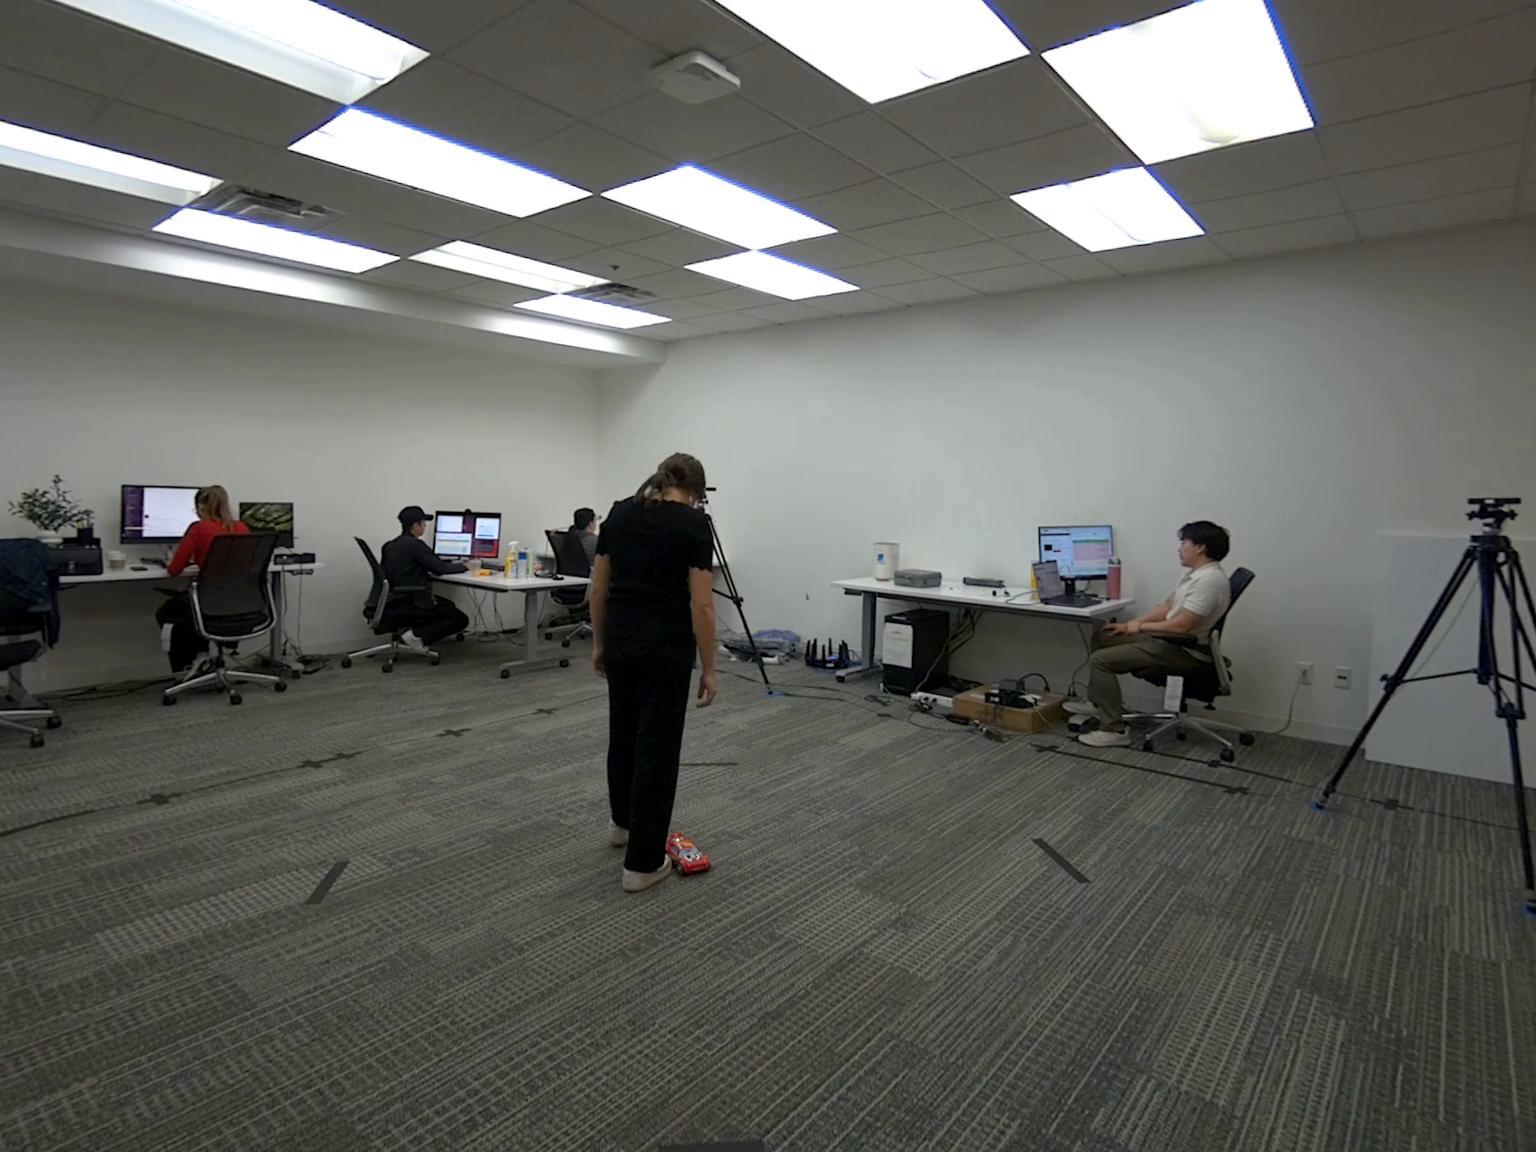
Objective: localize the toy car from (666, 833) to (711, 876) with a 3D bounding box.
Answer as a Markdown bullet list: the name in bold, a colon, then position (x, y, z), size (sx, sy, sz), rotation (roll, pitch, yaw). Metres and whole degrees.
- **toy car**: position (-0.324, 1.027, 3.154), size (0.127, 0.082, 0.264), rotation (-3, 17, -27)
